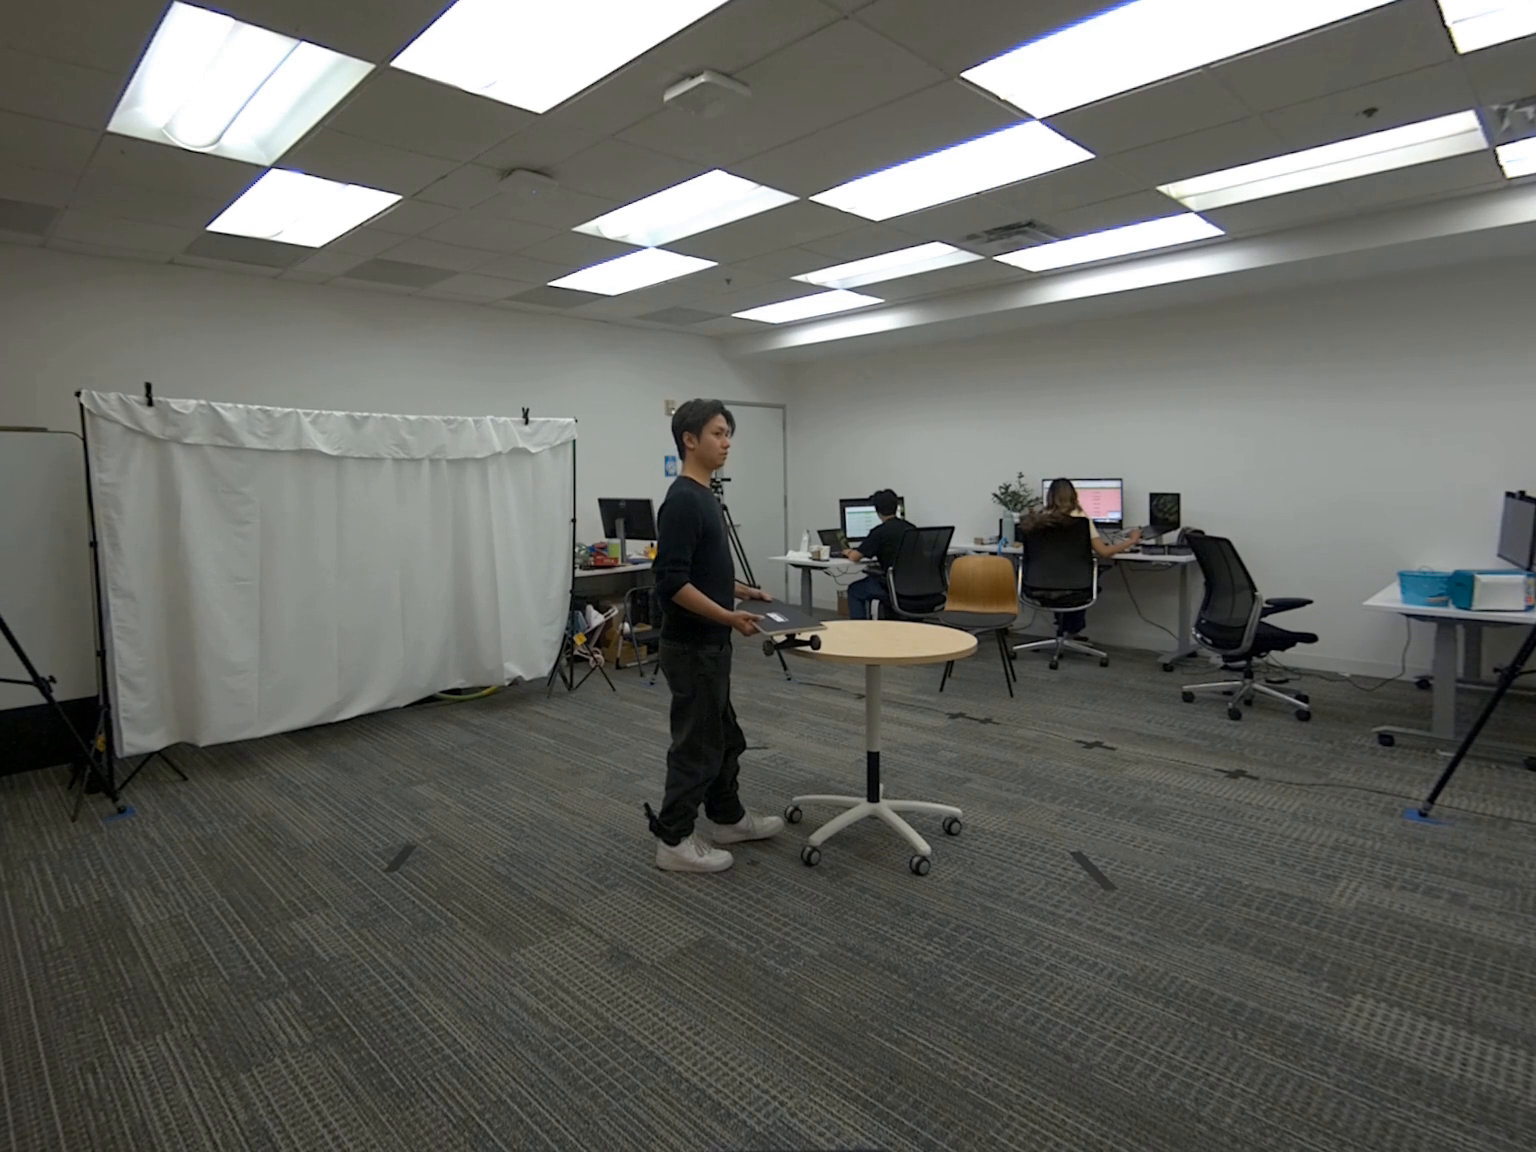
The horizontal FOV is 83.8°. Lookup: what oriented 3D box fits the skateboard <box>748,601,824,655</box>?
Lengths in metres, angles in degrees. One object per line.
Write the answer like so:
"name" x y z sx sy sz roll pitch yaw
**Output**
"skateboard" 0.032 0.171 2.932 0.192 0.110 0.795 -6 7 -10
